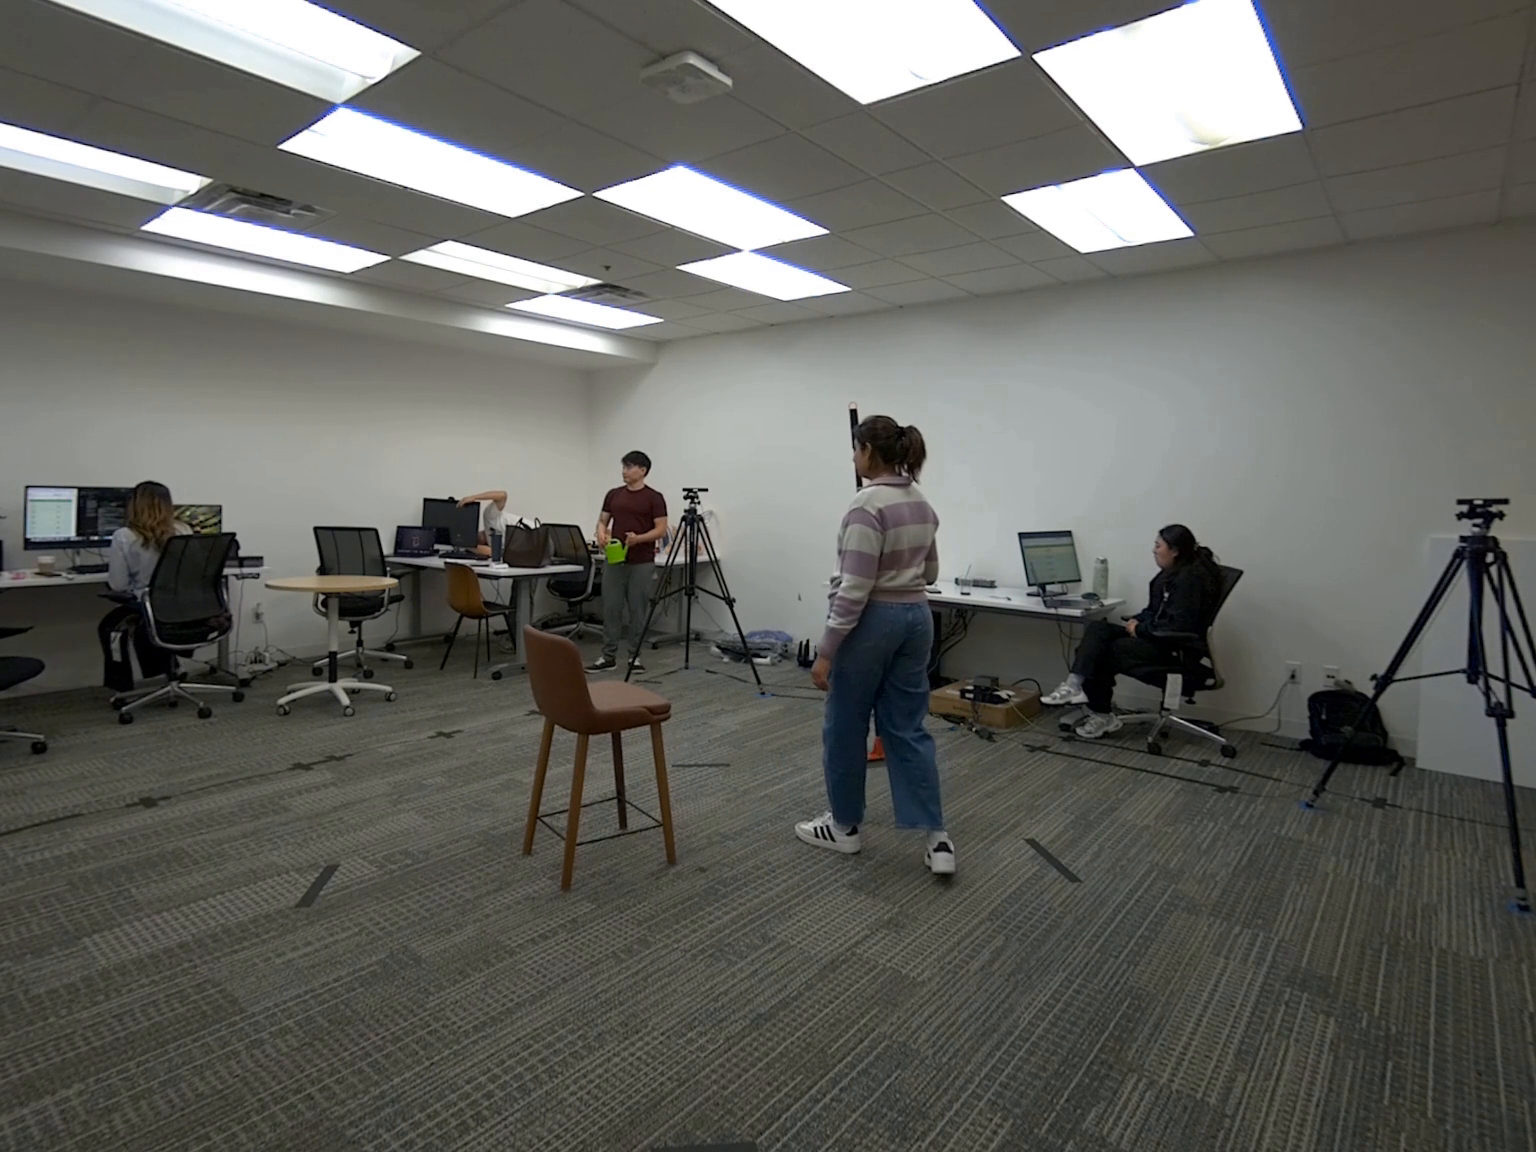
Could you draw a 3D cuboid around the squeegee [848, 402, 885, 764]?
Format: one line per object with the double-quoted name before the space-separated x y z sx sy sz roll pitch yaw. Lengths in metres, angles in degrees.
"squeegee" 0.404 0.054 3.570 0.437 1.526 0.053 -4 7 0
